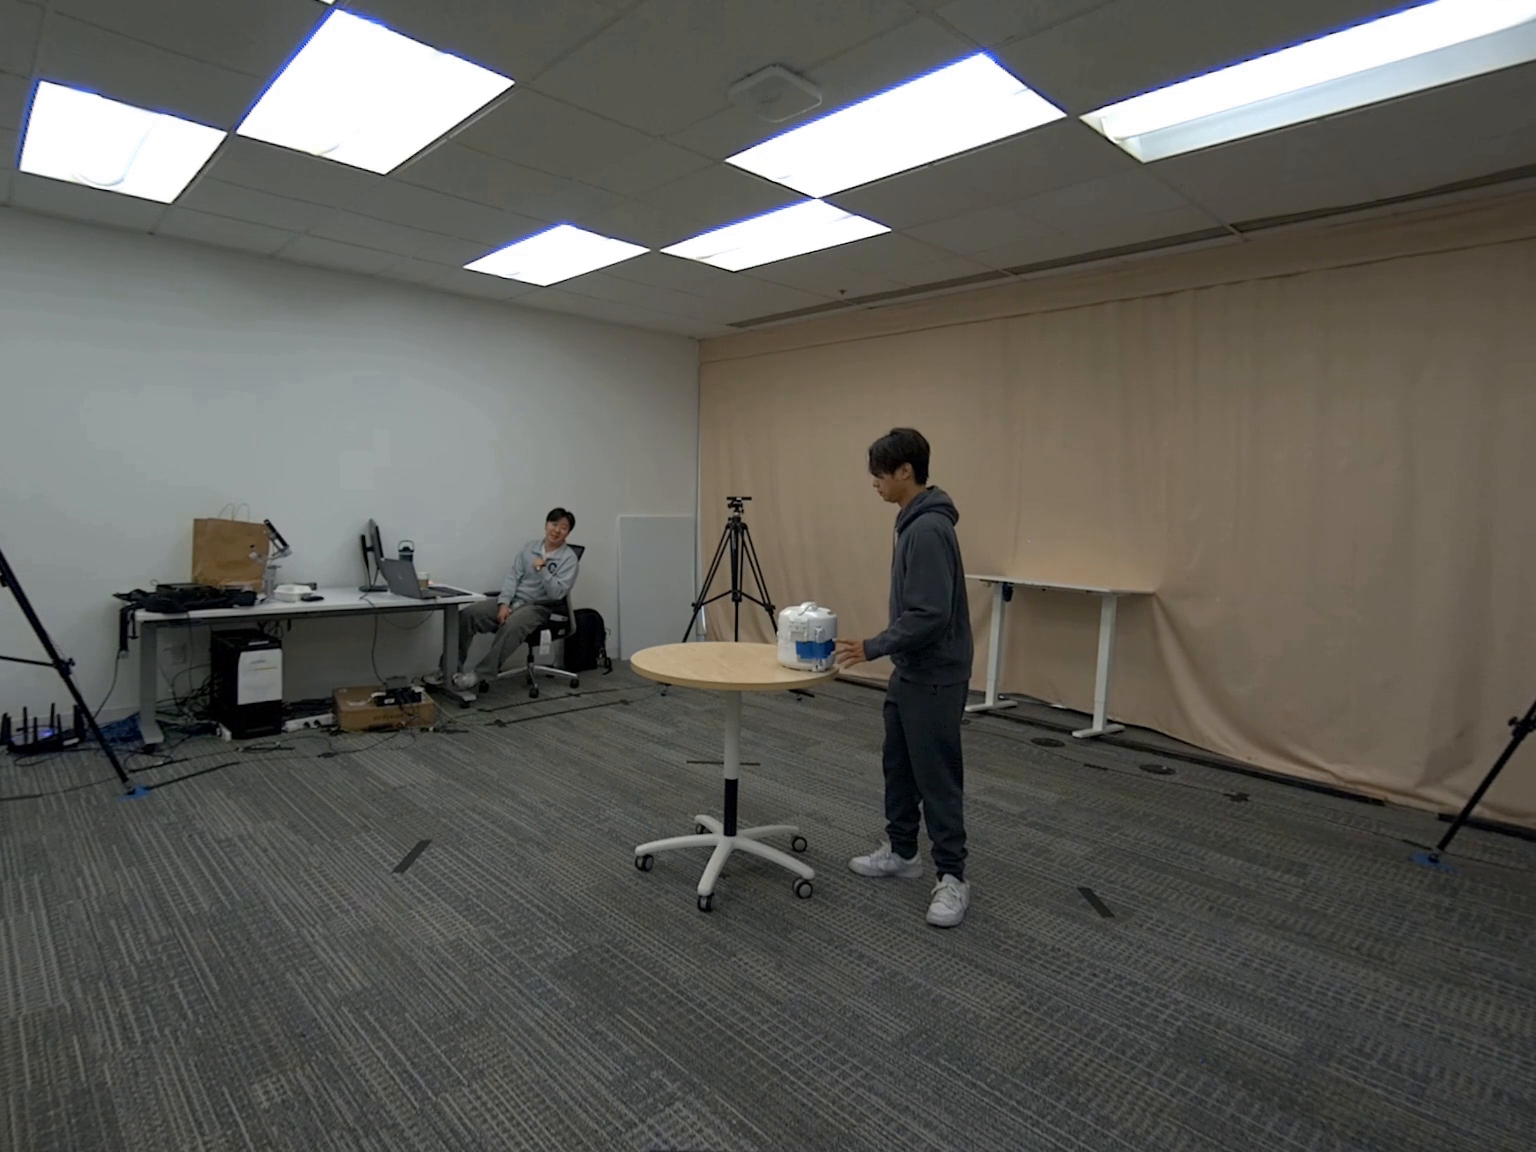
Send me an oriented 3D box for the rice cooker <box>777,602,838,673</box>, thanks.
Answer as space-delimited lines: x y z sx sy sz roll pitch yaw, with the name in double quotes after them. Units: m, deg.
0.137 0.209 3.013 0.221 0.232 0.217 5 5 24 "rice cooker"
